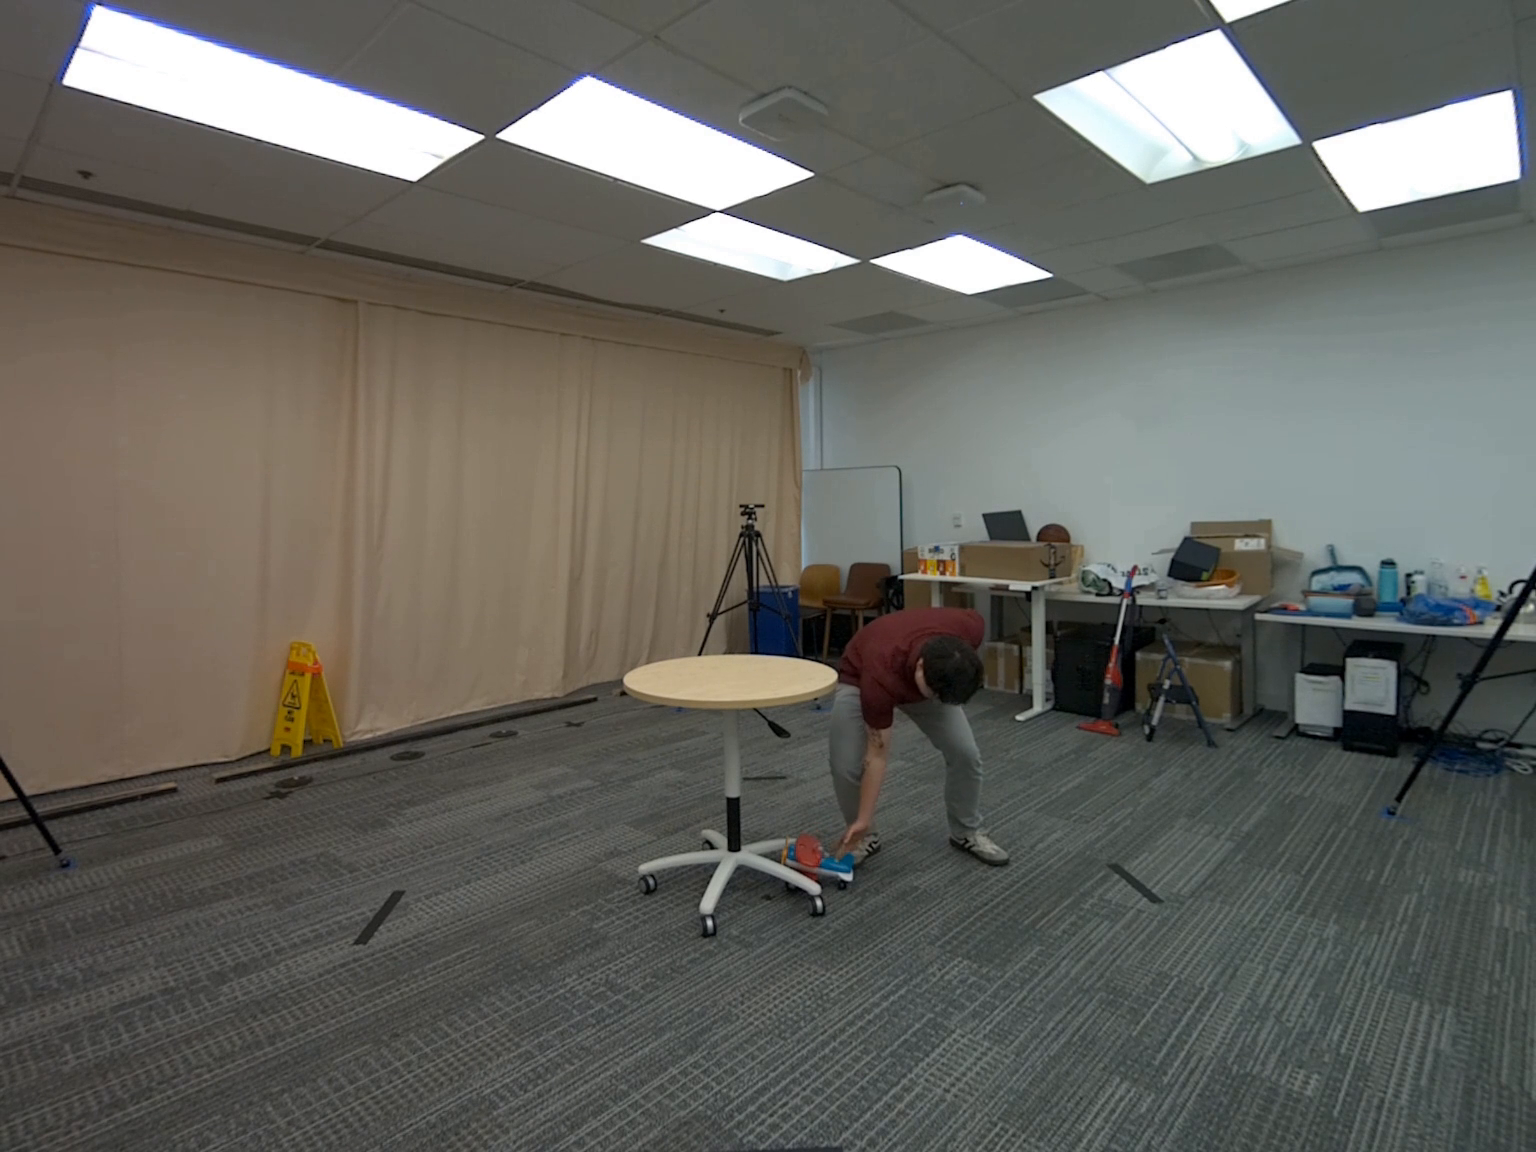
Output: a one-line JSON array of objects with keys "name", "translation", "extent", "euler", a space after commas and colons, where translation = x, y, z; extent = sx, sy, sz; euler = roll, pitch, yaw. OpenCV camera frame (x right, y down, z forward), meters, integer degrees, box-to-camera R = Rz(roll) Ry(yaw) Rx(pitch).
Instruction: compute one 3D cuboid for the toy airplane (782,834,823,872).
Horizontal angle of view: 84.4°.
[{"name": "toy airplane", "translation": [0.180, 1.054, 3.065], "extent": [0.254, 0.156, 0.257], "euler": [-3, 6, -21]}]
